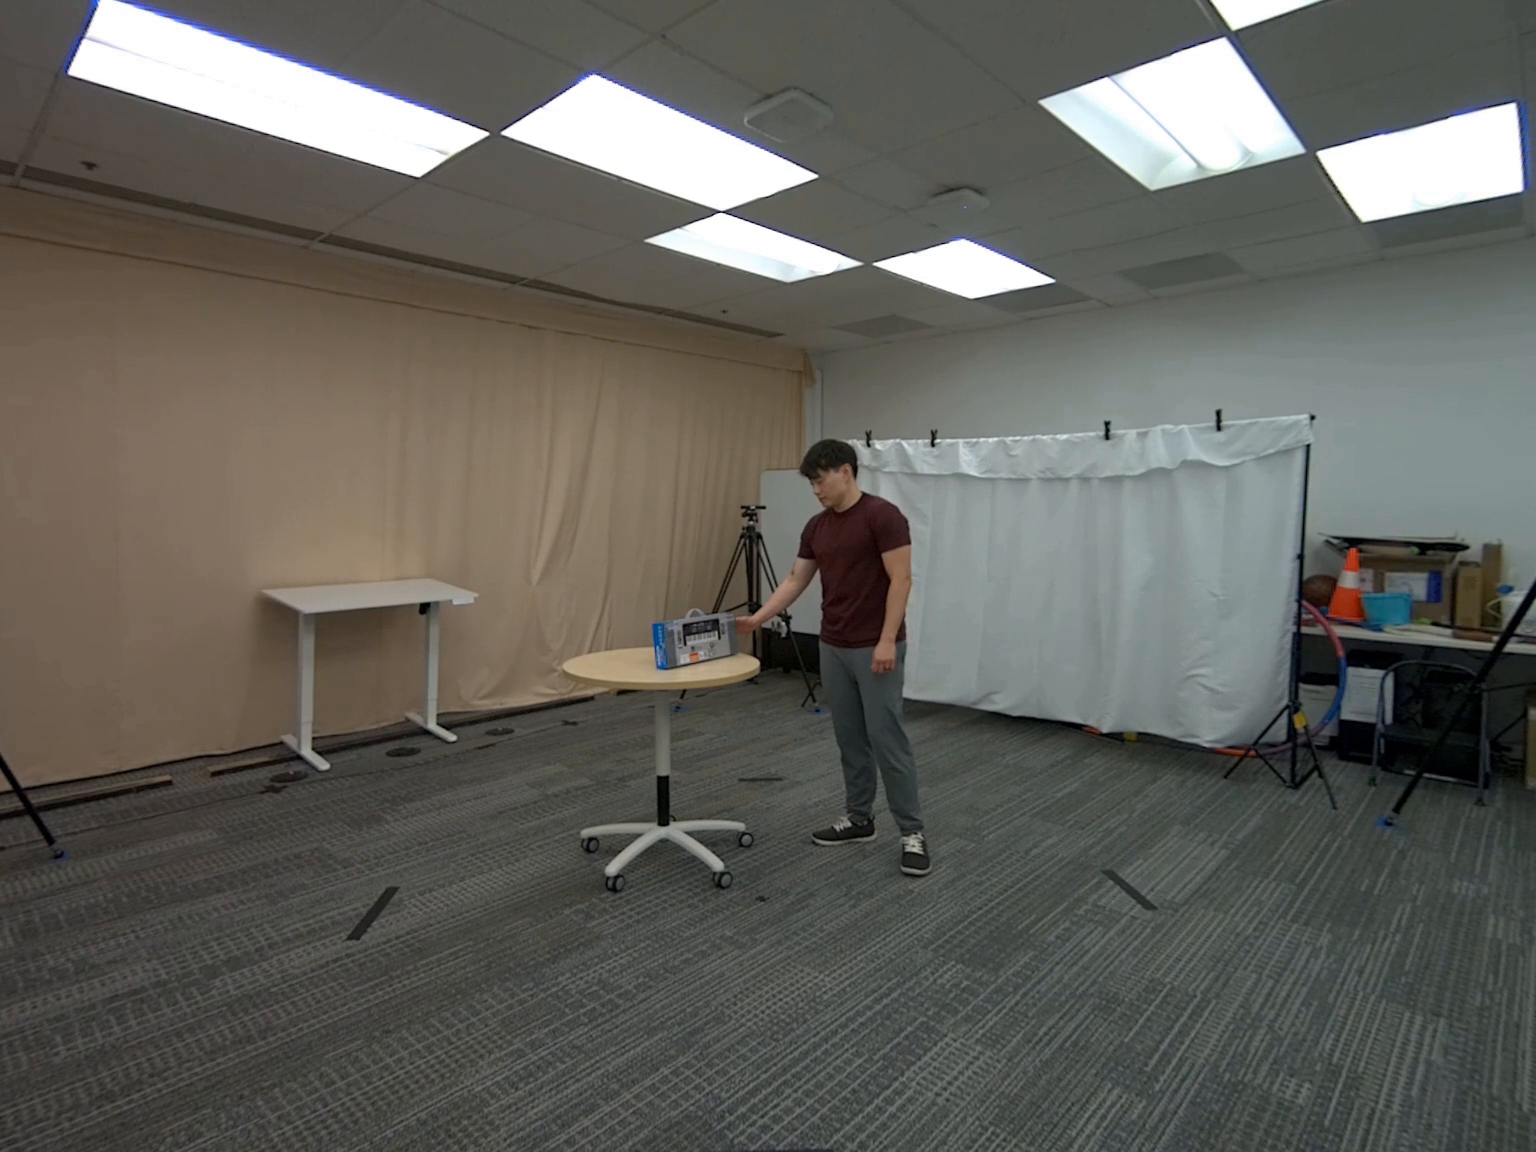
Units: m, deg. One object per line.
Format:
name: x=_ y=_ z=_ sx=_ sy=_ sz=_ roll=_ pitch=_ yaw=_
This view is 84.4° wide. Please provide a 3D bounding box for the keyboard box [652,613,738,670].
keyboard box: x=-0.275 y=0.252 z=3.319 sx=0.061 sy=0.176 sz=0.424 roll=-6 pitch=-1 yaw=38
